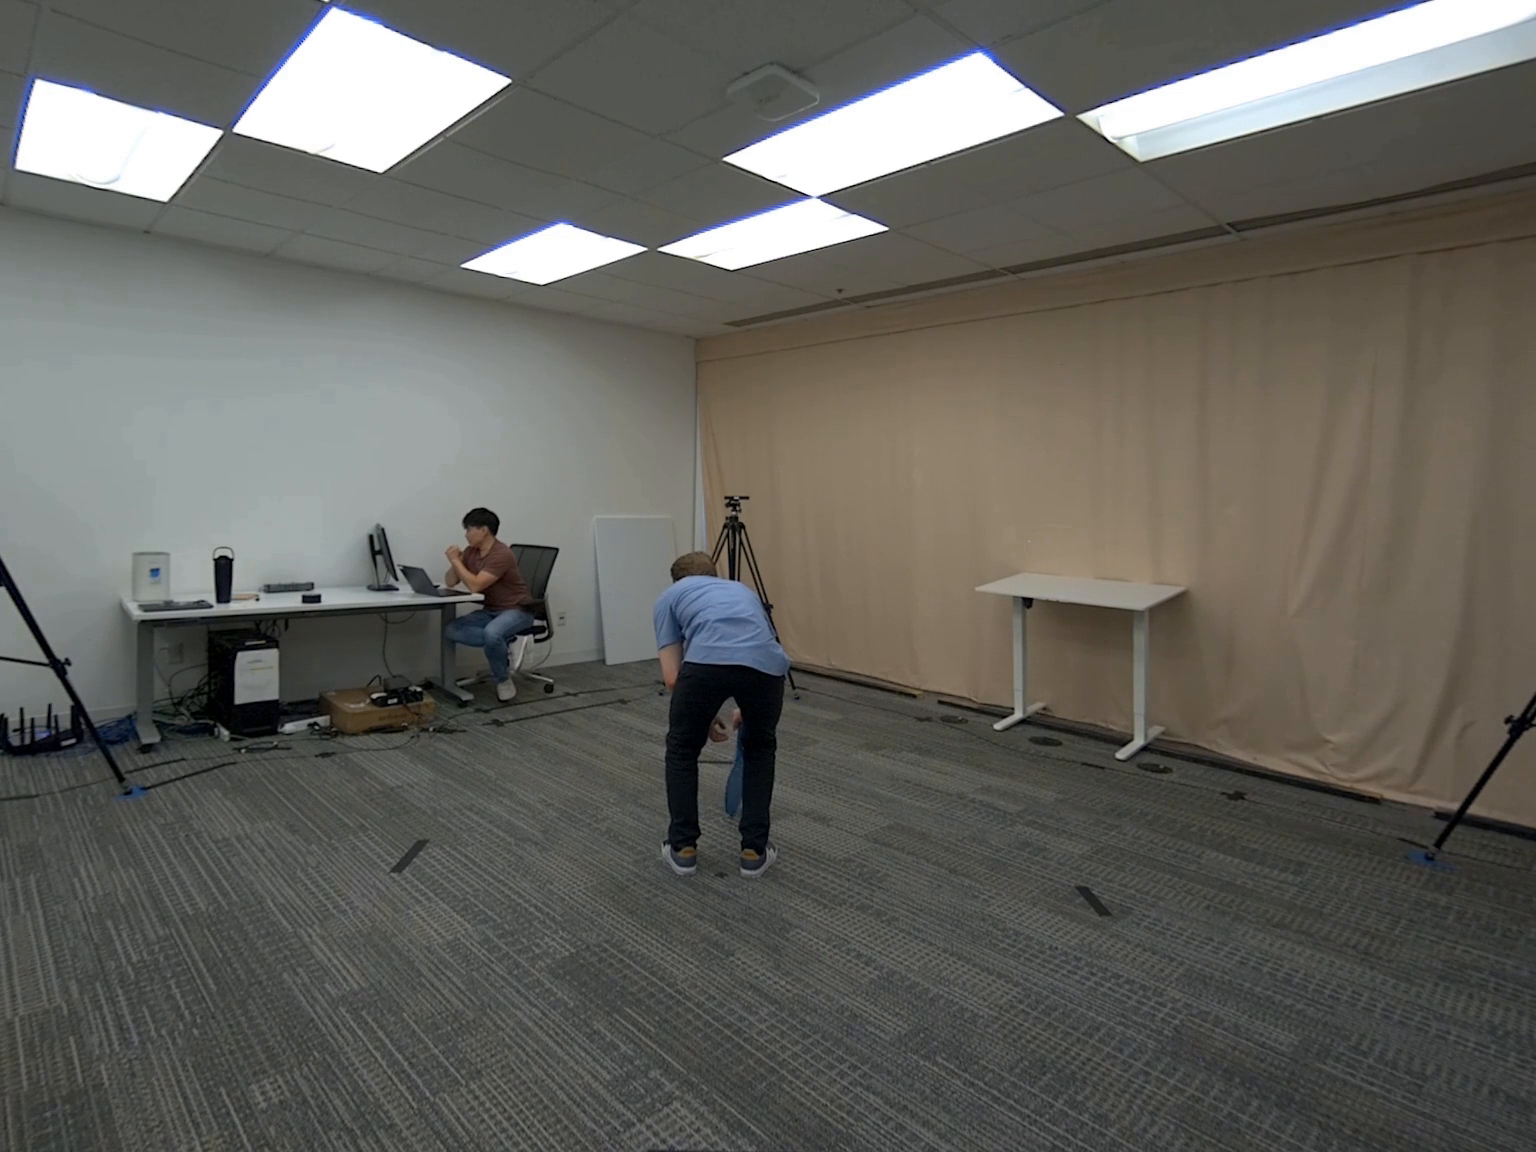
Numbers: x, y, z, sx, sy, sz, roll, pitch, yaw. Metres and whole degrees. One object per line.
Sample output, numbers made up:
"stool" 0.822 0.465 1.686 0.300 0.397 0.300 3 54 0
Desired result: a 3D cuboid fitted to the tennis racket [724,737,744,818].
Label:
"tennis racket" -0.141 0.834 3.673 0.032 0.430 0.211 9 10 21
